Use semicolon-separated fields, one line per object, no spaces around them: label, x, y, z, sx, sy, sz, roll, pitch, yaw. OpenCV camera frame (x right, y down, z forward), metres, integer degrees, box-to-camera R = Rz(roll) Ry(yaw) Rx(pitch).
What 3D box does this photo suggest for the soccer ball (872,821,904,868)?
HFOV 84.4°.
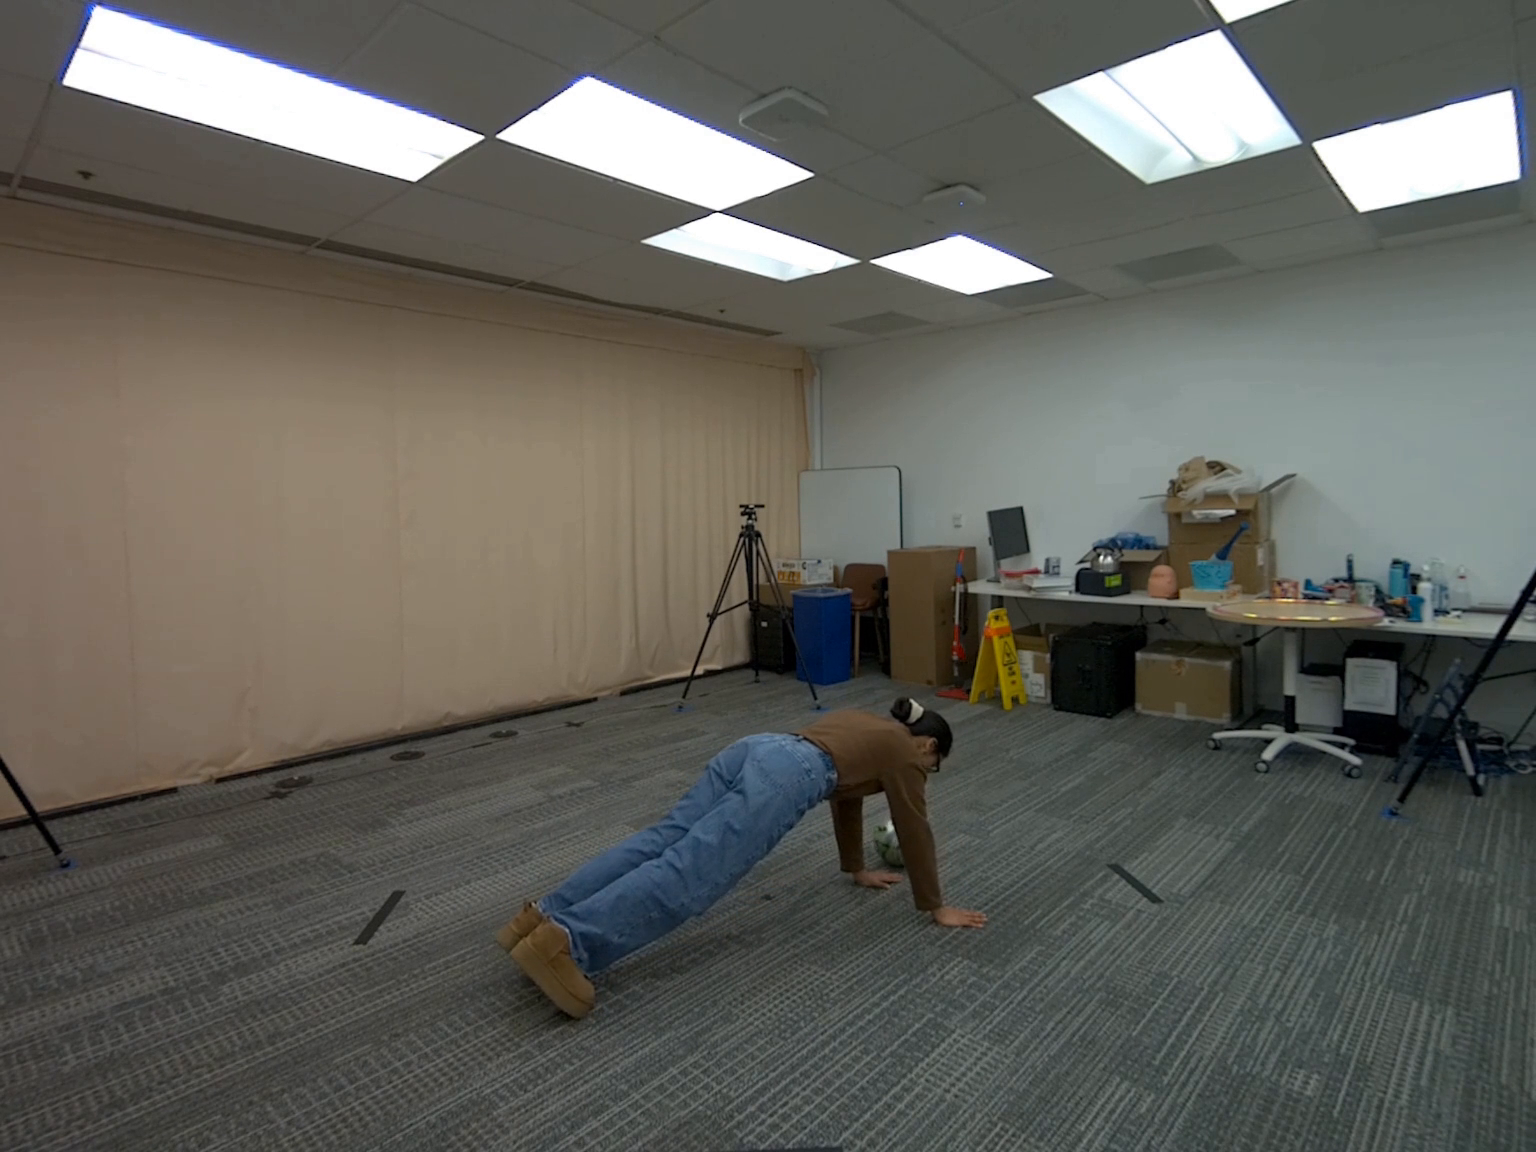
soccer ball;0.502;1.017;3.240;0.187;0.187;0.188;-1;4;-2
